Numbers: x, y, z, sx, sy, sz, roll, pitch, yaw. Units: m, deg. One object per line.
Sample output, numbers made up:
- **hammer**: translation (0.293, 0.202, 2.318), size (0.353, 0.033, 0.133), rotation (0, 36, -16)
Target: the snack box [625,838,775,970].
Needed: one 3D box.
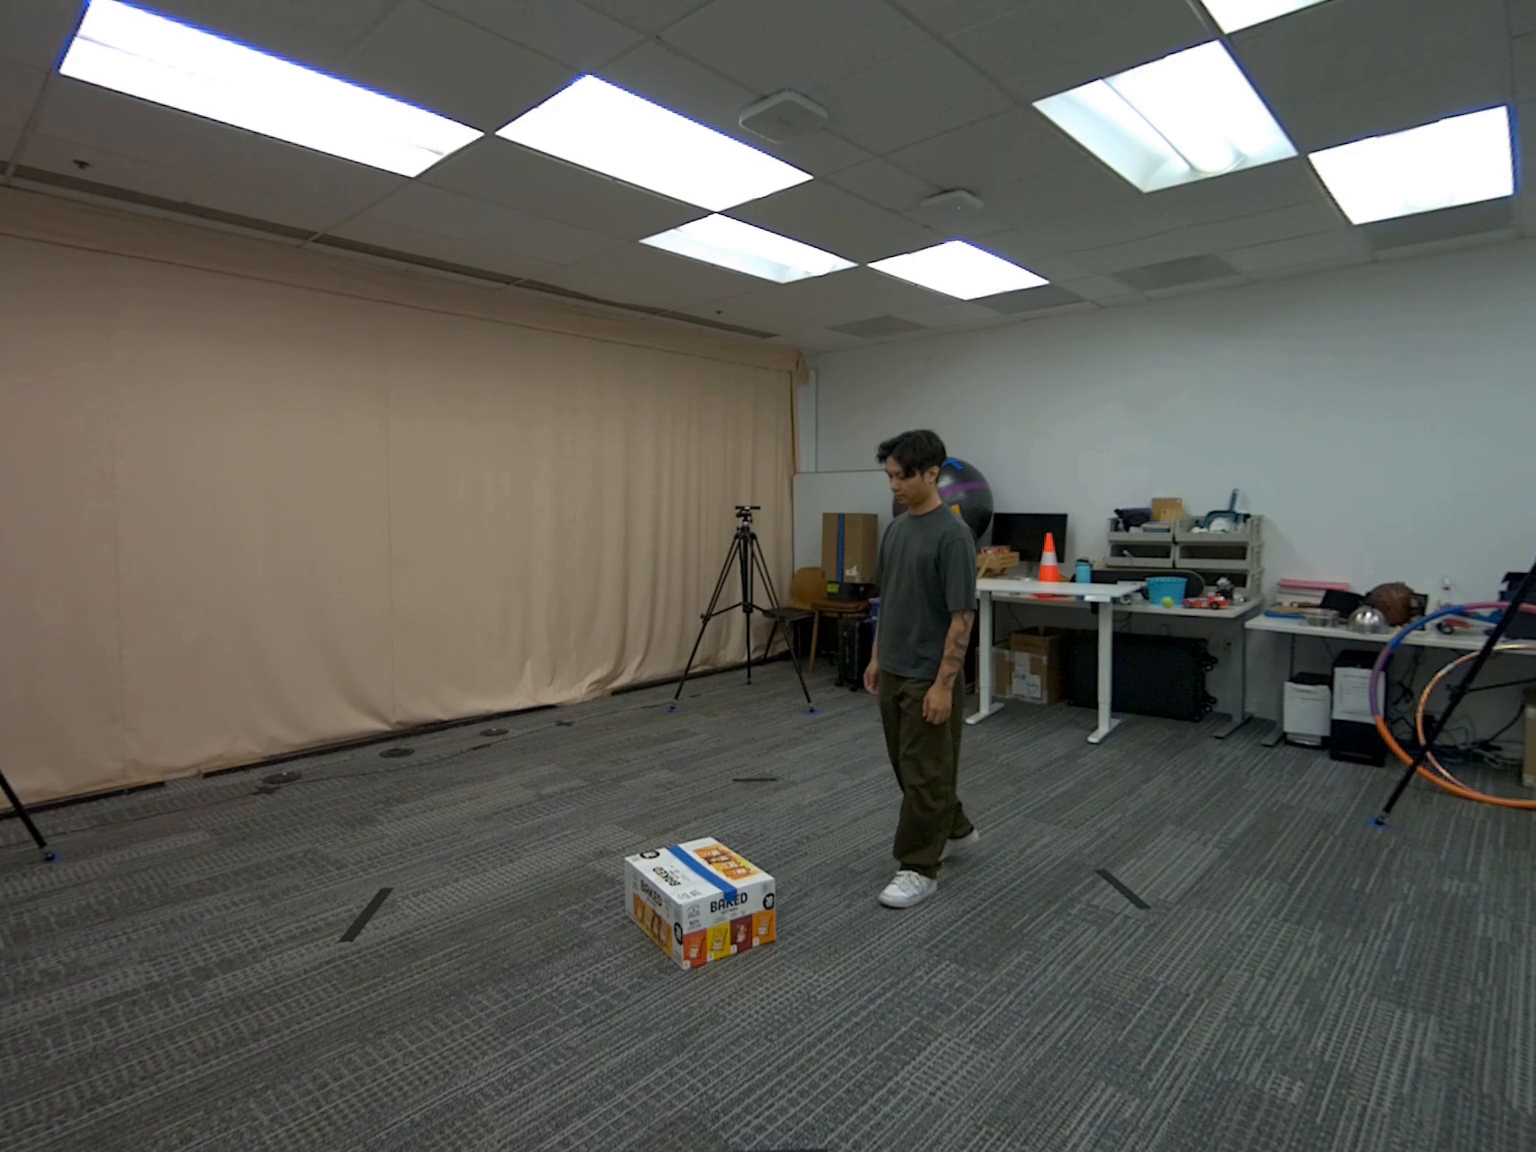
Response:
- **snack box**: translation (-0.231, 1.056, 2.774), size (0.331, 0.205, 0.417), rotation (-3, 5, -33)
